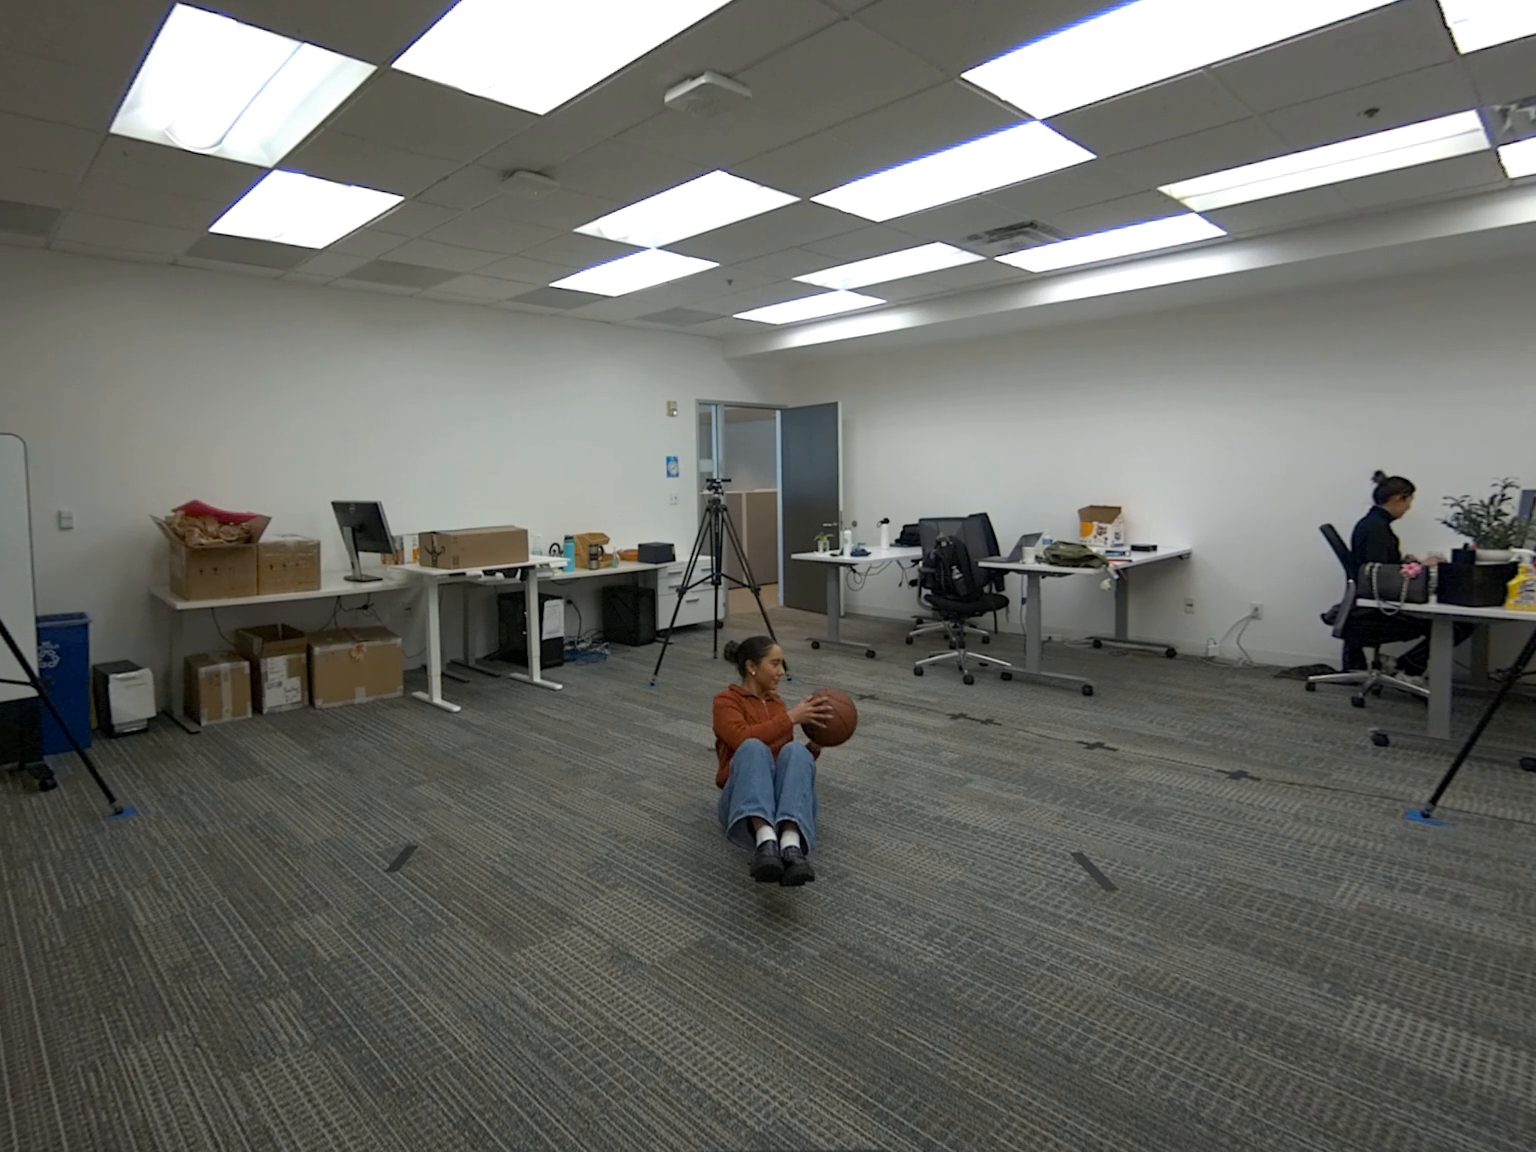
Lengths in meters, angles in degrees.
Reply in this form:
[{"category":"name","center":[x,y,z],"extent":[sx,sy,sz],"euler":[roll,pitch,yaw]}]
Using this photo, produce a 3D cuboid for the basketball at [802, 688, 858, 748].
[{"category":"basketball","center":[0.231,0.575,3.489],"extent":[0.236,0.235,0.237],"euler":[-1,5,-2]}]
